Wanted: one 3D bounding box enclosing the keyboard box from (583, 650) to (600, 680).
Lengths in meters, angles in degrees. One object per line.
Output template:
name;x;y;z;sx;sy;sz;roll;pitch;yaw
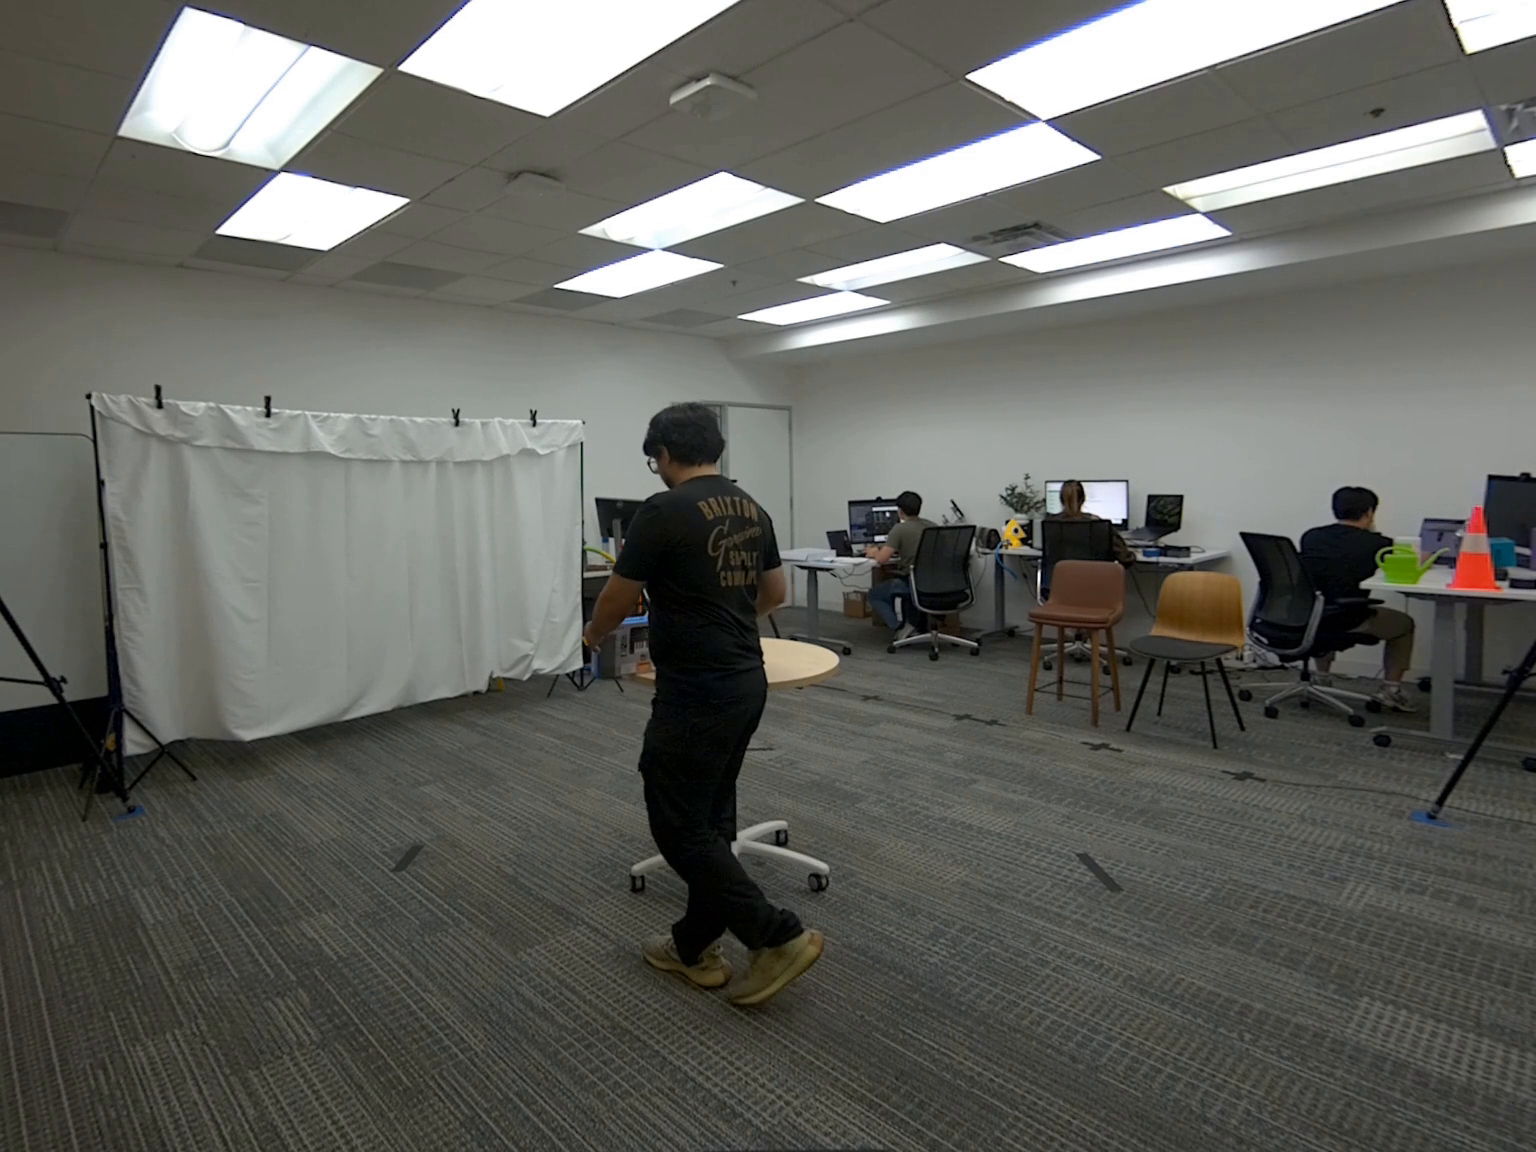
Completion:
keyboard box;-0.356;0.221;2.770;0.426;0.174;0.061;-4;11;-34
